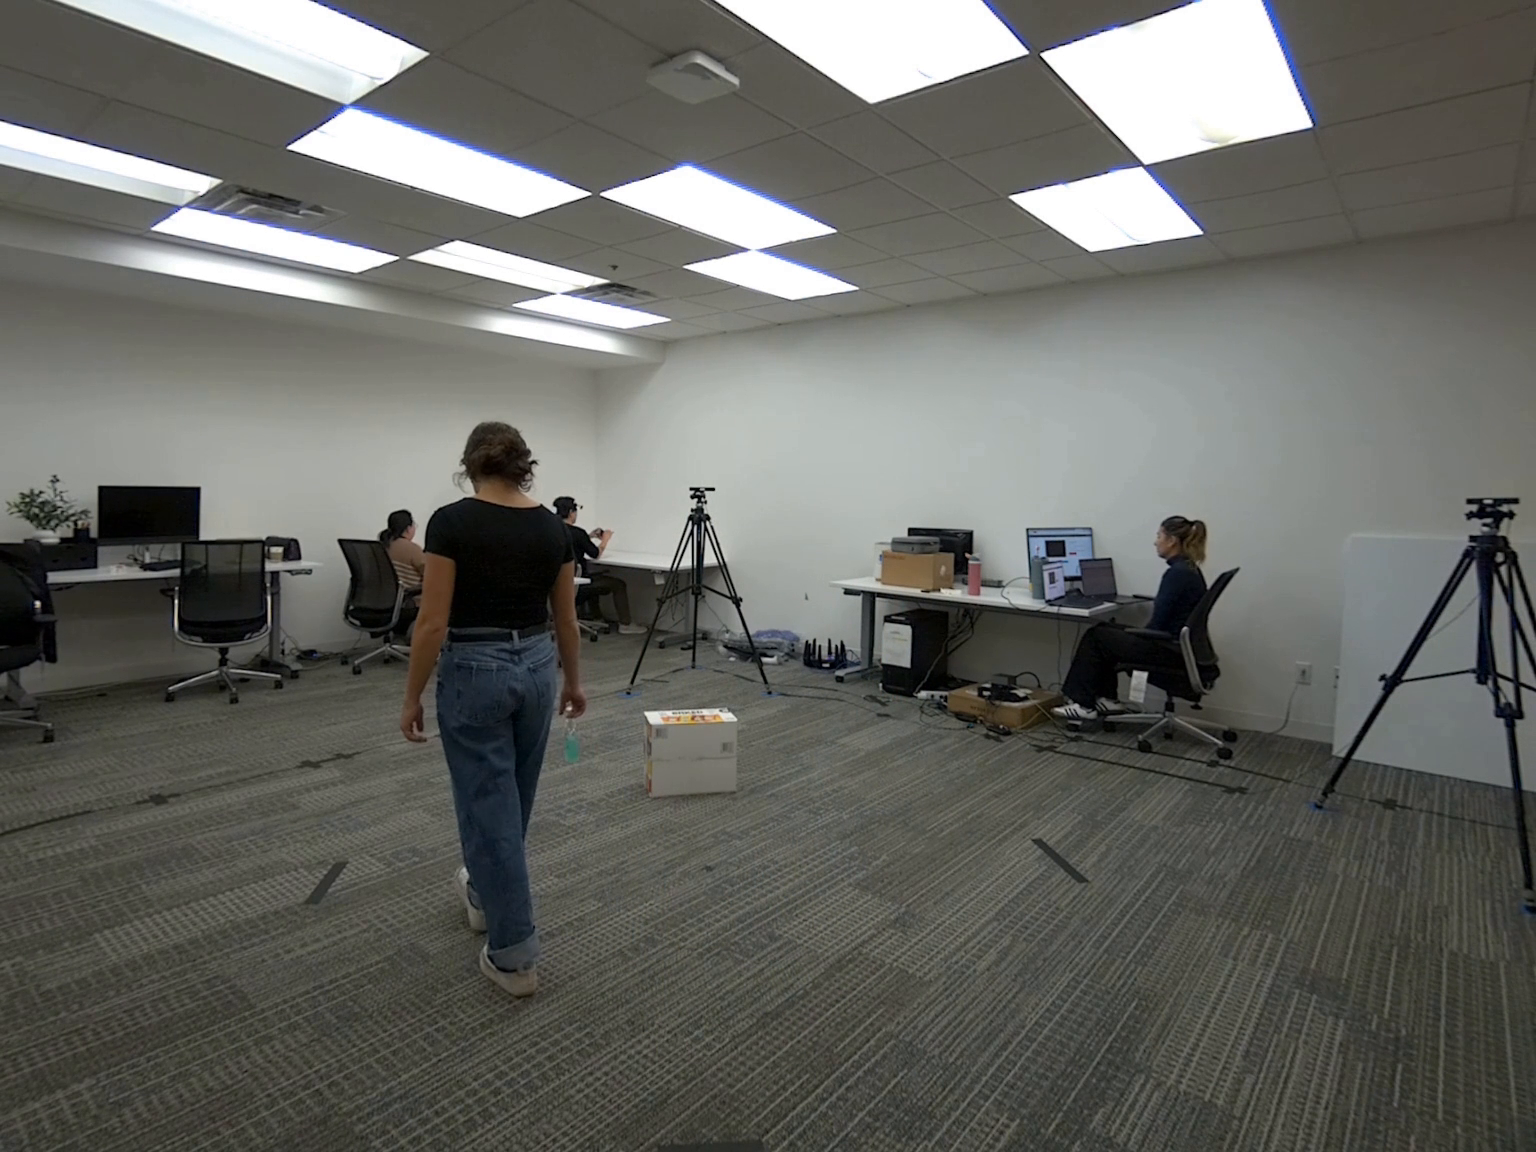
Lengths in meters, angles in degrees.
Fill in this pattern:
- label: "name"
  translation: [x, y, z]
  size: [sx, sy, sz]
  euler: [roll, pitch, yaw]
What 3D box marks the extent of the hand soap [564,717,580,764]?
- label: "hand soap"
  translation: [-0.642, 0.496, 2.679]
  size: [0.043, 0.166, 0.087]
  euler: [-4, 11, -18]
